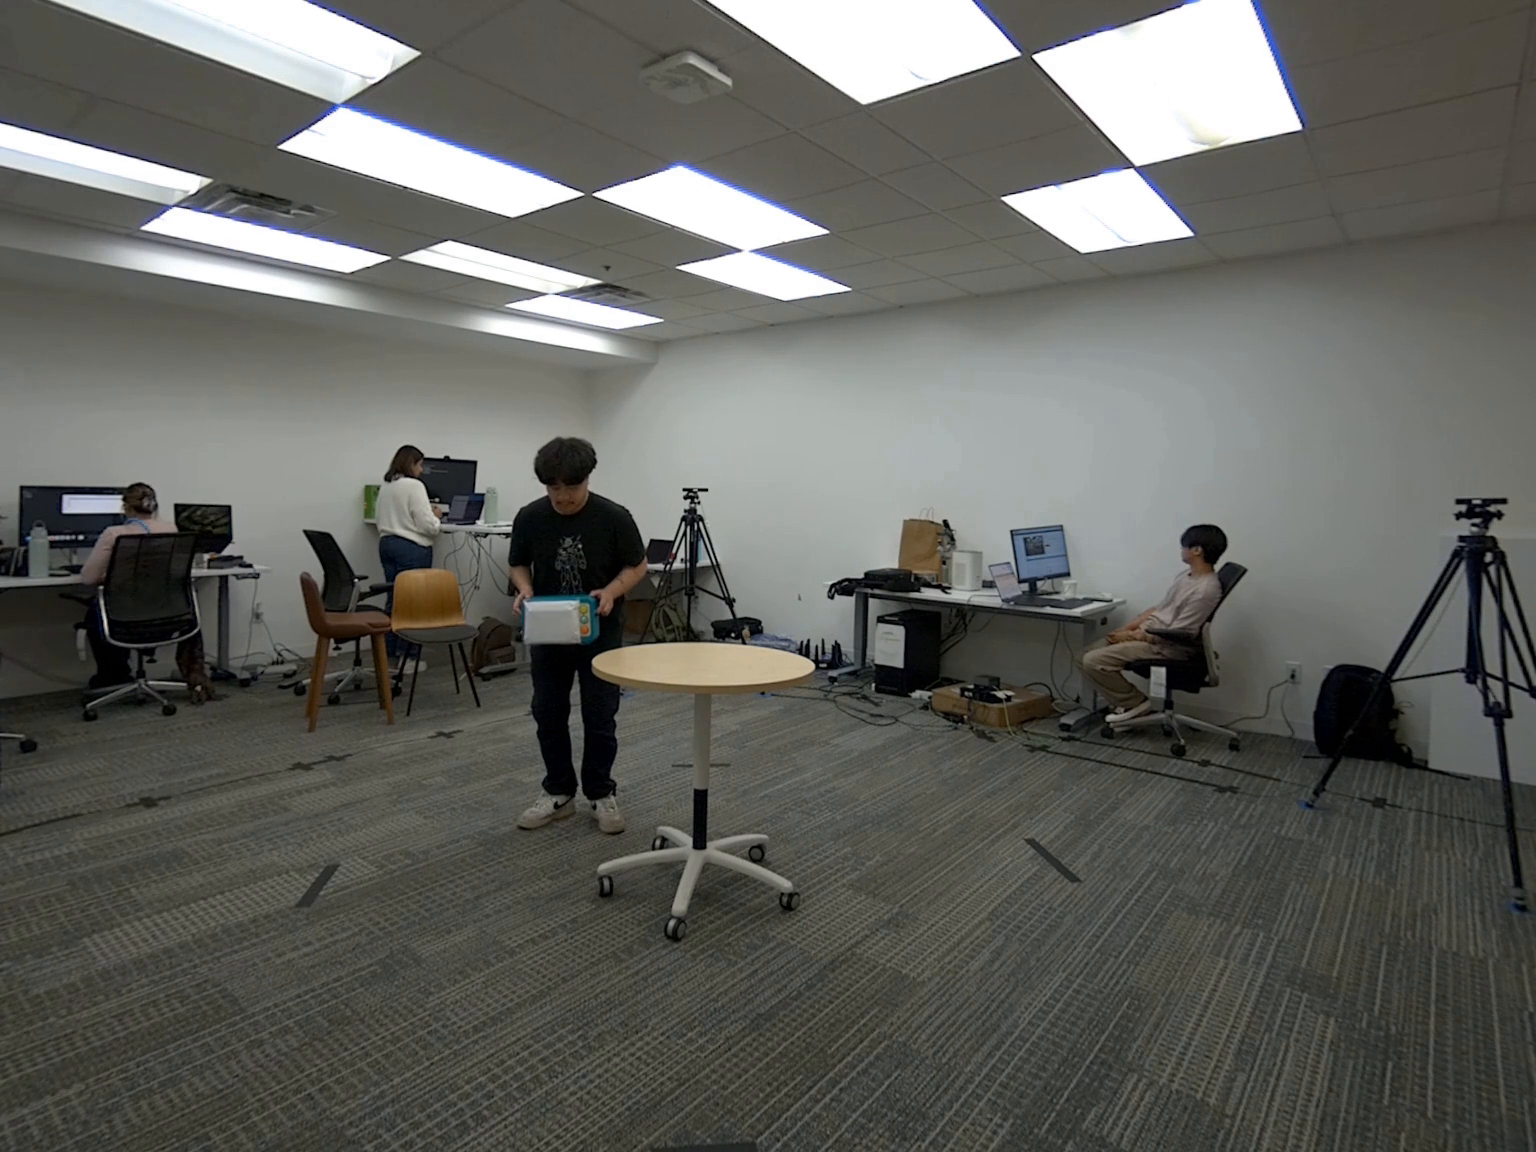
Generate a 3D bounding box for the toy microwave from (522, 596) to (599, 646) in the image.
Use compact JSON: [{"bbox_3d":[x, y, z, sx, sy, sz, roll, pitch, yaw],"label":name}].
[{"bbox_3d":[-0.801,0.166,3.299,0.287,0.184,0.152,-1,2,2],"label":"toy microwave"}]
